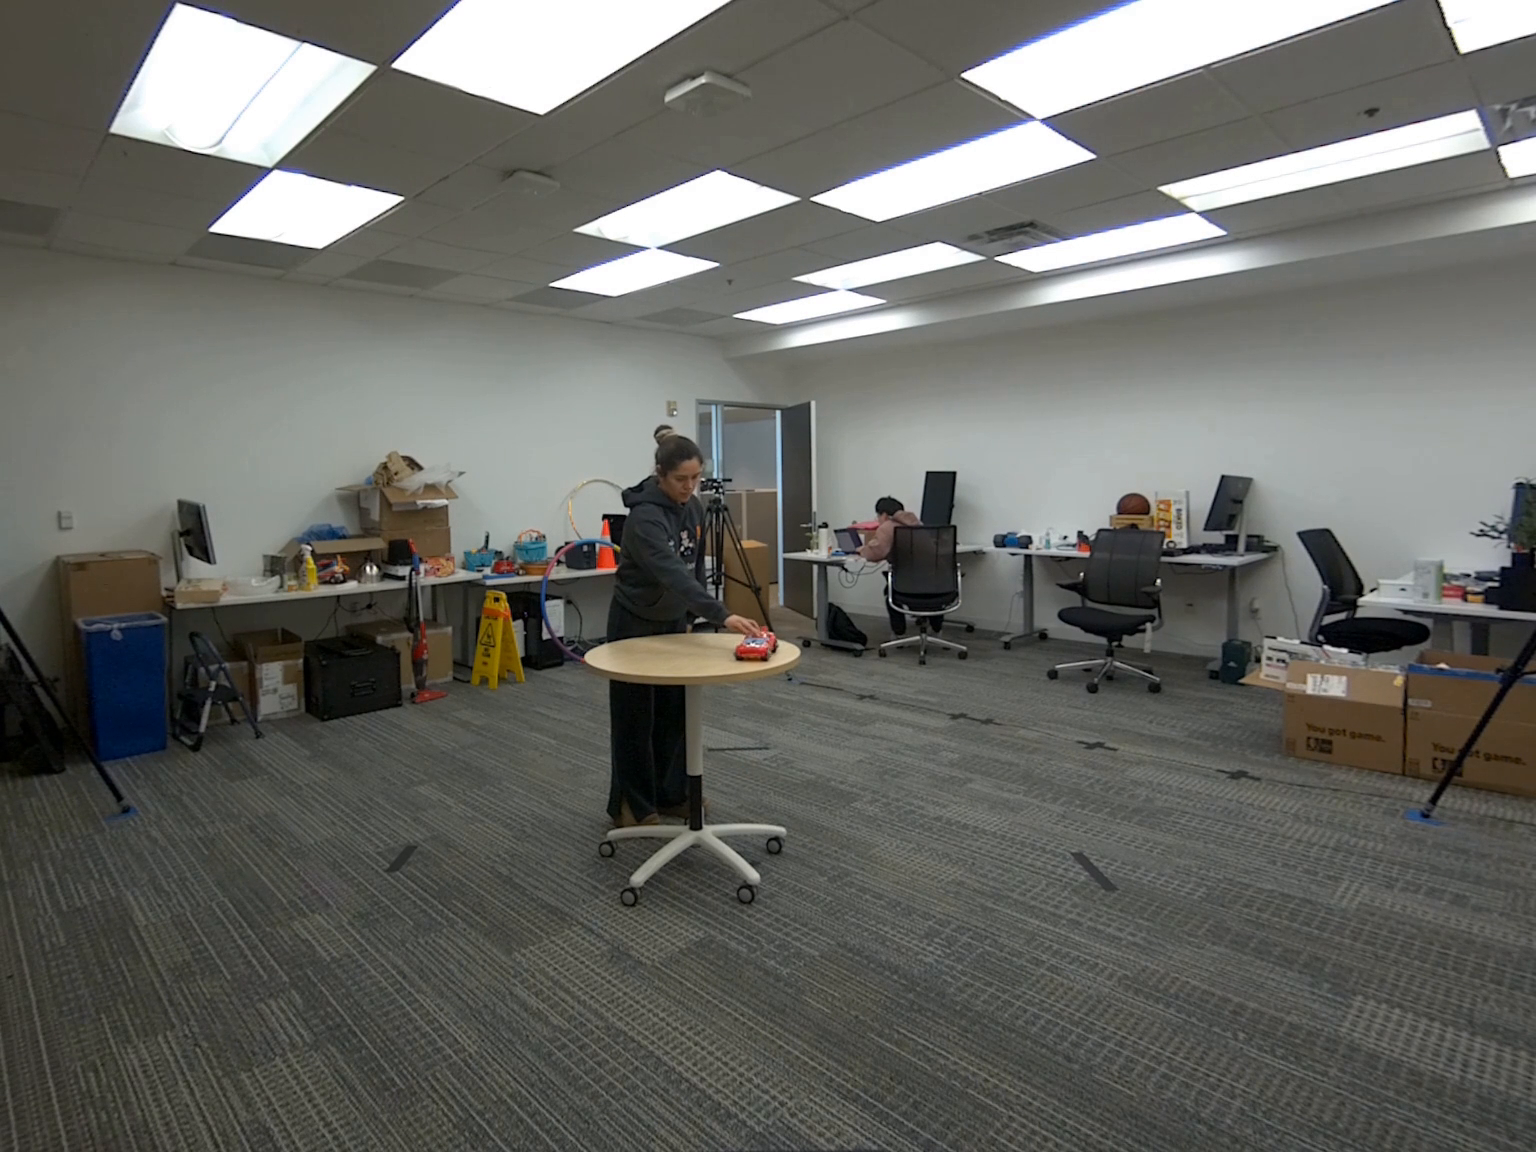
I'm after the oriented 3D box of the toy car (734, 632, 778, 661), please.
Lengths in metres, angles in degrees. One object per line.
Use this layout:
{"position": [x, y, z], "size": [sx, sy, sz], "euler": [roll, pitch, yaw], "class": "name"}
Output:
{"position": [-0.037, 0.243, 2.967], "size": [0.132, 0.082, 0.255], "euler": [-2, 17, 11], "class": "toy car"}
